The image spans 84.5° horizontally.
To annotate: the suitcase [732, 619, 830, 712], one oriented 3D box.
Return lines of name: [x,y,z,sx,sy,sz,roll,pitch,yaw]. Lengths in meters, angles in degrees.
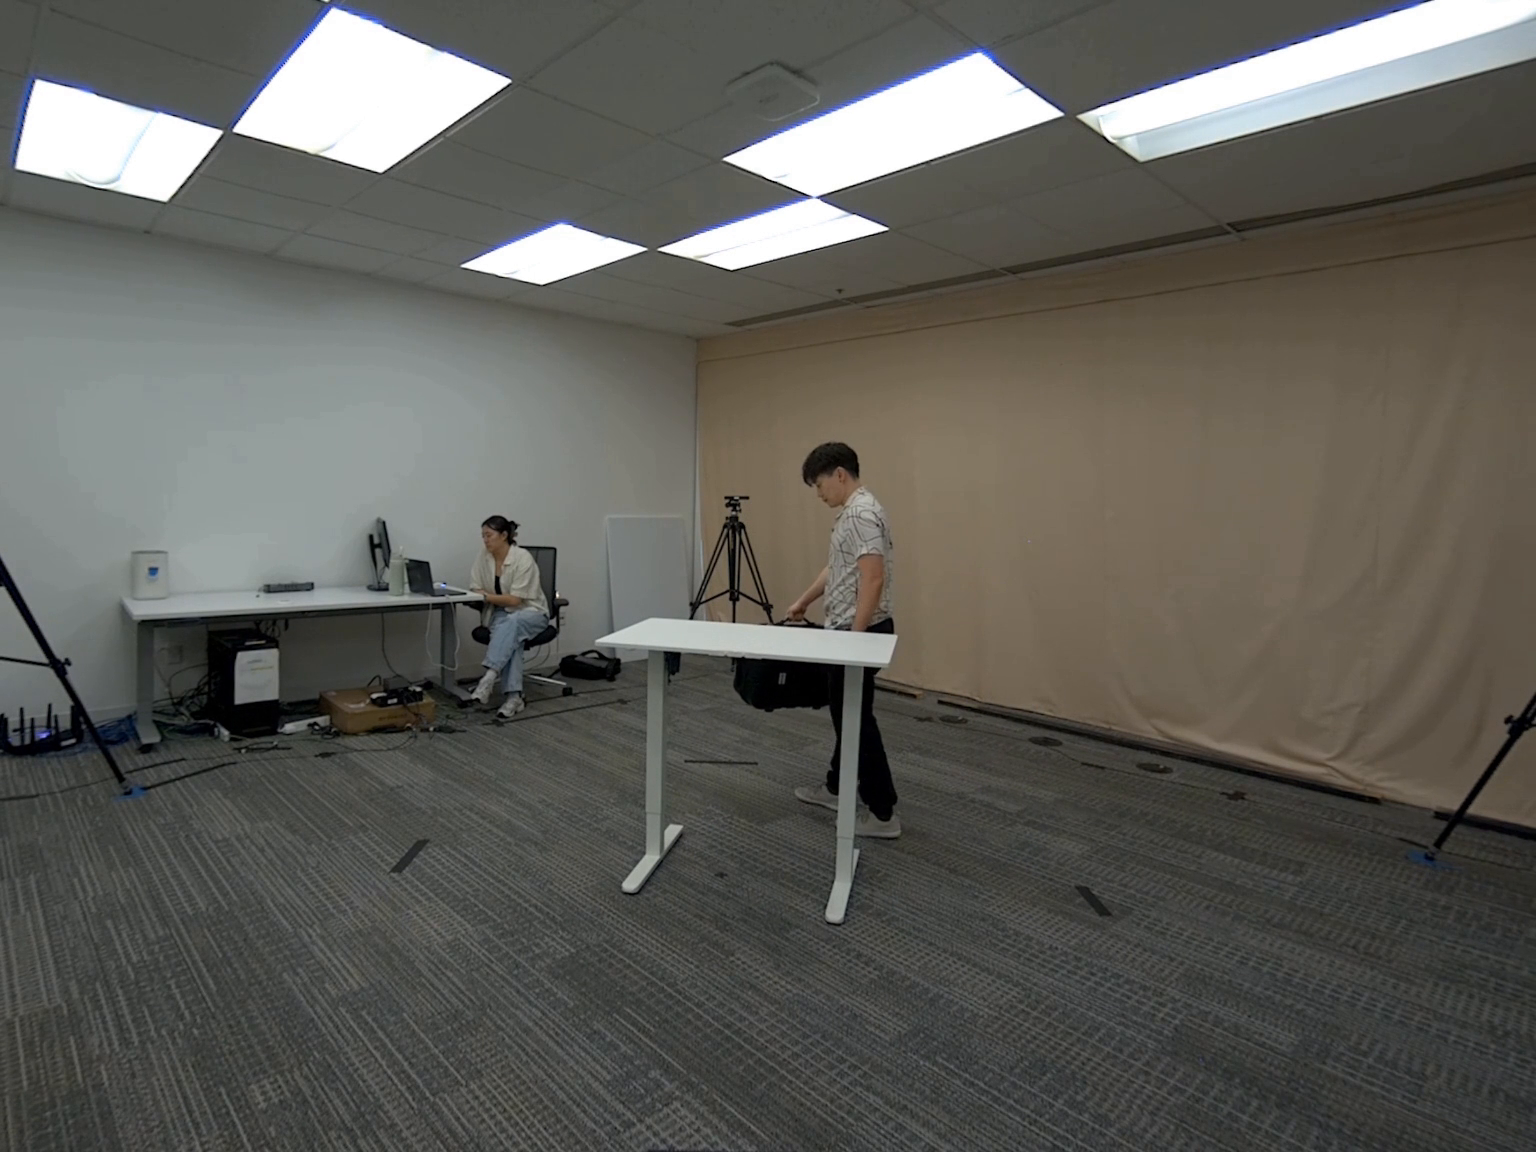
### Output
suitcase: [0.117,0.417,3.932,0.538,0.373,0.255,2,12,-28]
